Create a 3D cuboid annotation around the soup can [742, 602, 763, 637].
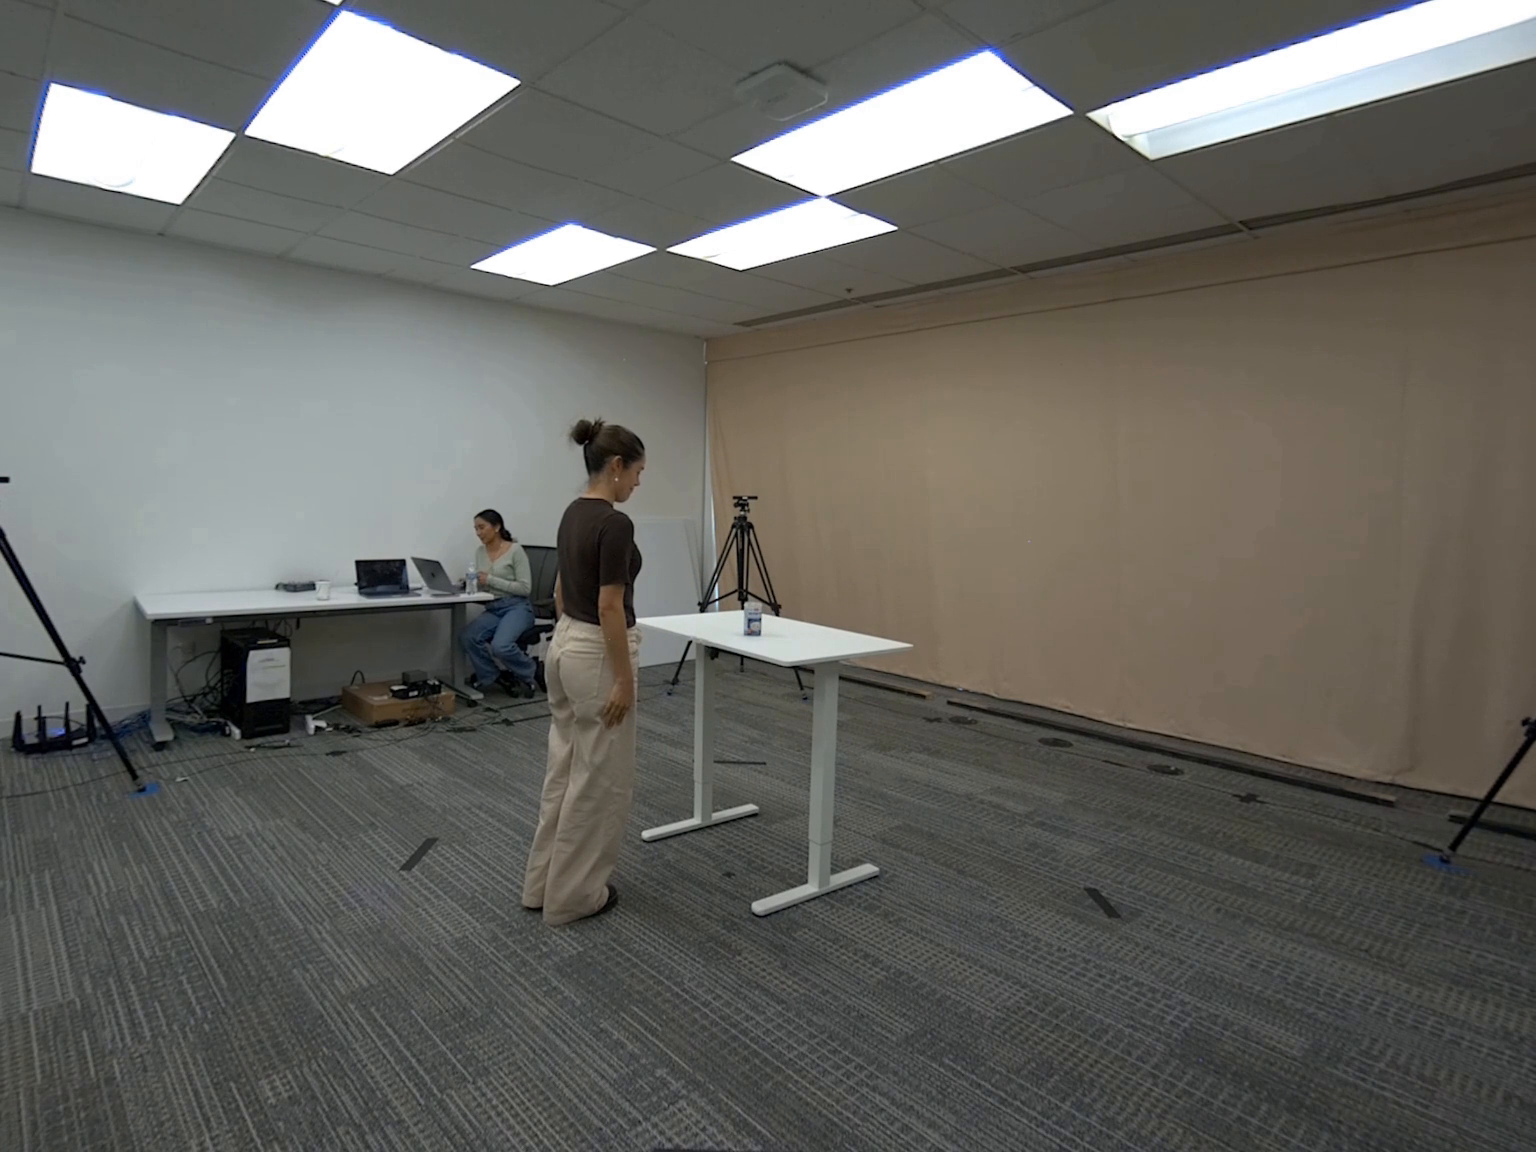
[{"bbox_3d":[-0.068,0.161,3.118,0.067,0.121,0.067,1,3,-1],"label":"soup can"}]
